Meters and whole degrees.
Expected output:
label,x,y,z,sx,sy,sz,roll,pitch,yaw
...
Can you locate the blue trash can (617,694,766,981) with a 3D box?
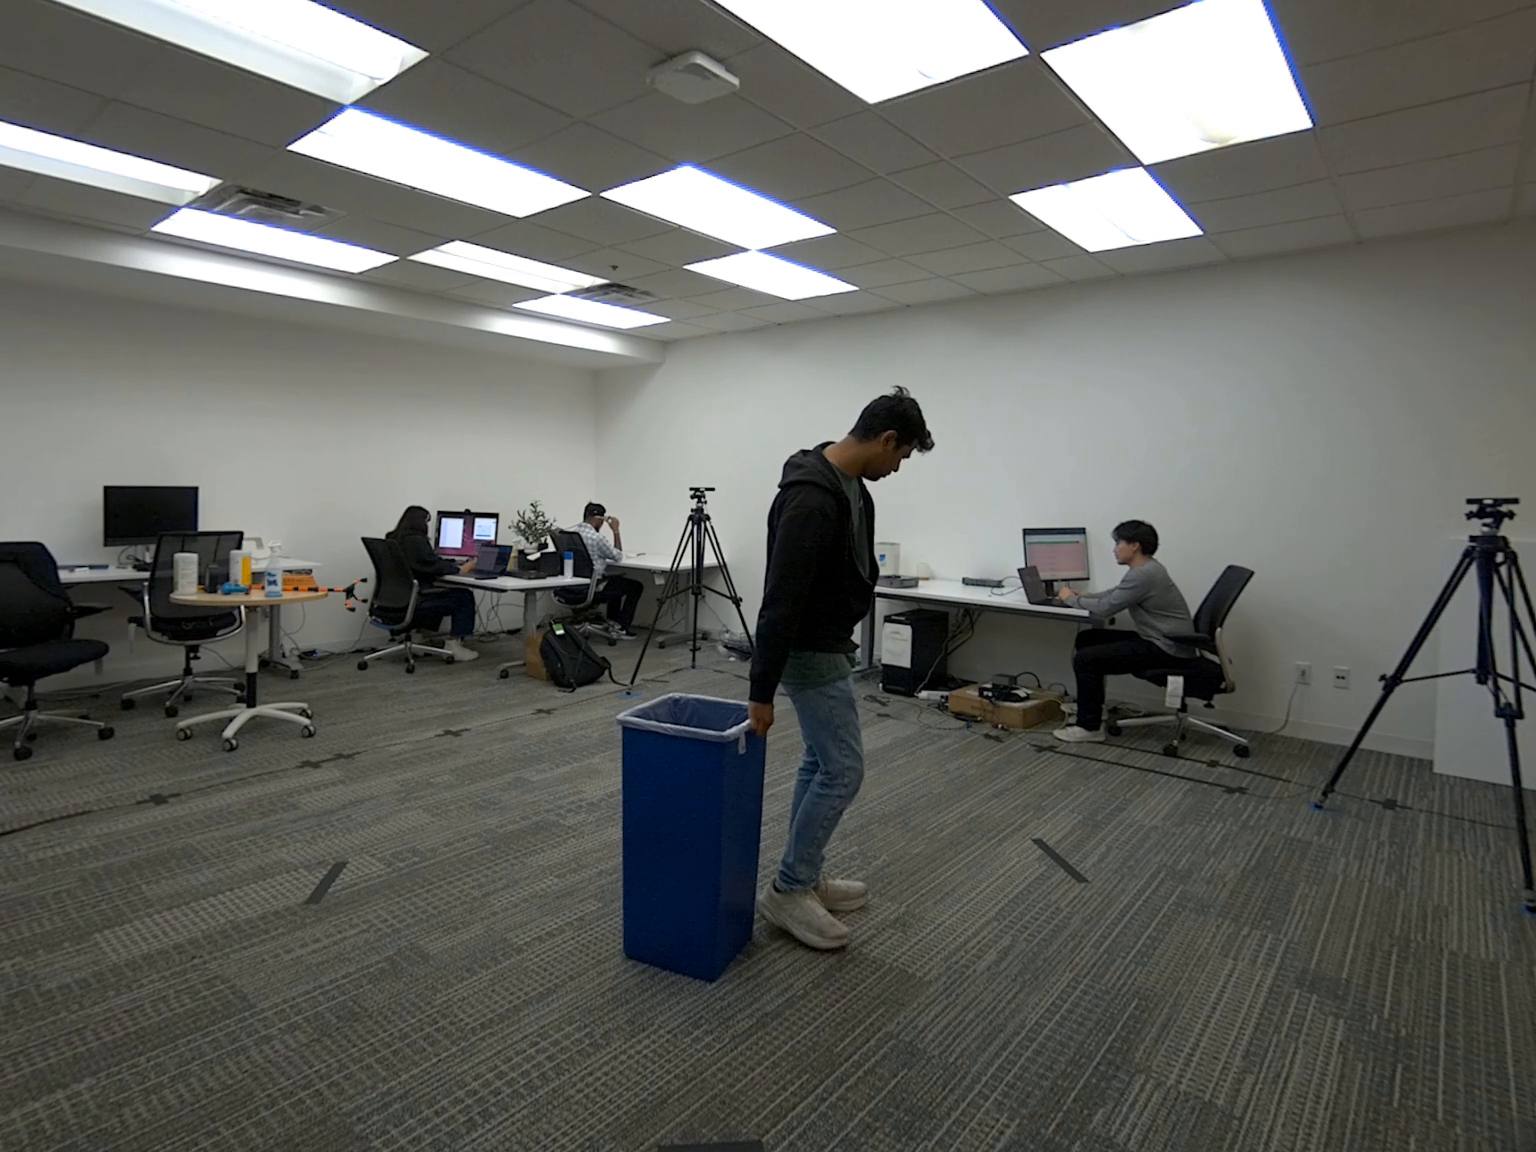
label,x,y,z,sx,sy,sz,roll,pitch,yaw
blue trash can,-0.231,0.758,2.565,0.387,0.711,0.366,2,4,22
